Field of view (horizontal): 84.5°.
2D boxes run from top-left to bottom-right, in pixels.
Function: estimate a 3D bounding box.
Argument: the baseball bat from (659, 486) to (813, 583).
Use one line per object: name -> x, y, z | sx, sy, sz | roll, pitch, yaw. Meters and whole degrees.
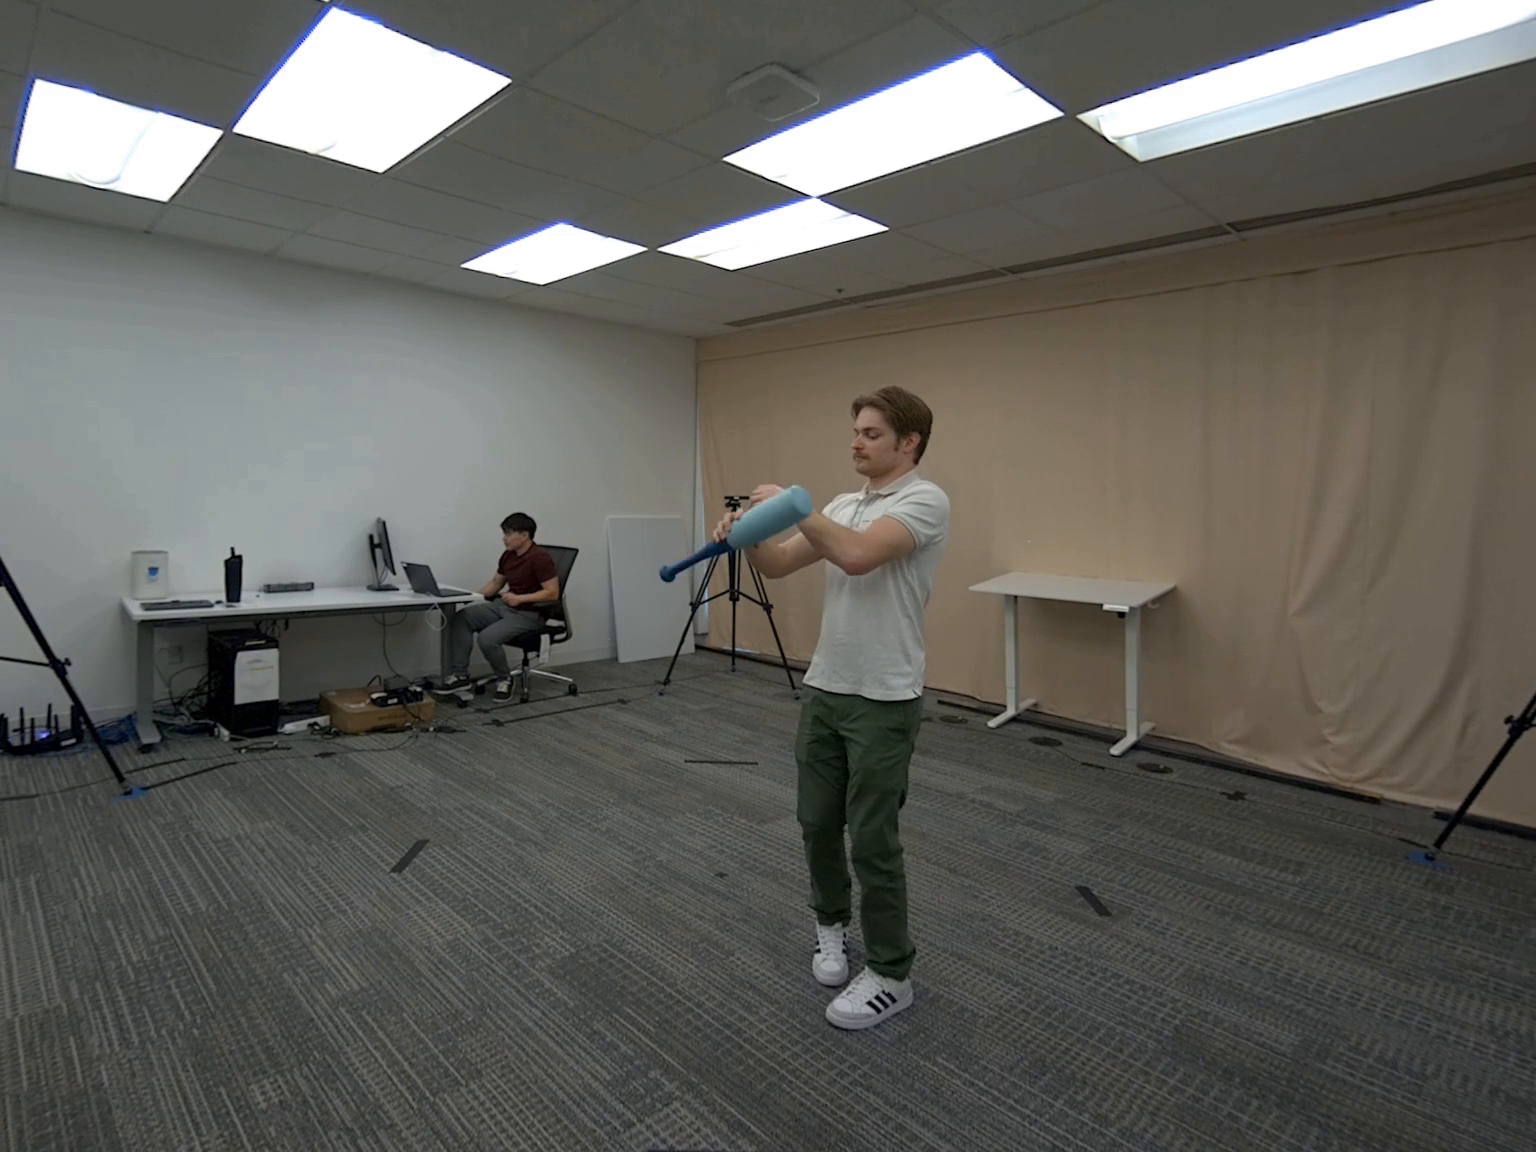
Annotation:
baseball bat -> -0.108, -0.085, 2.210 | 0.549, 0.090, 0.087 | -24, -14, 41
